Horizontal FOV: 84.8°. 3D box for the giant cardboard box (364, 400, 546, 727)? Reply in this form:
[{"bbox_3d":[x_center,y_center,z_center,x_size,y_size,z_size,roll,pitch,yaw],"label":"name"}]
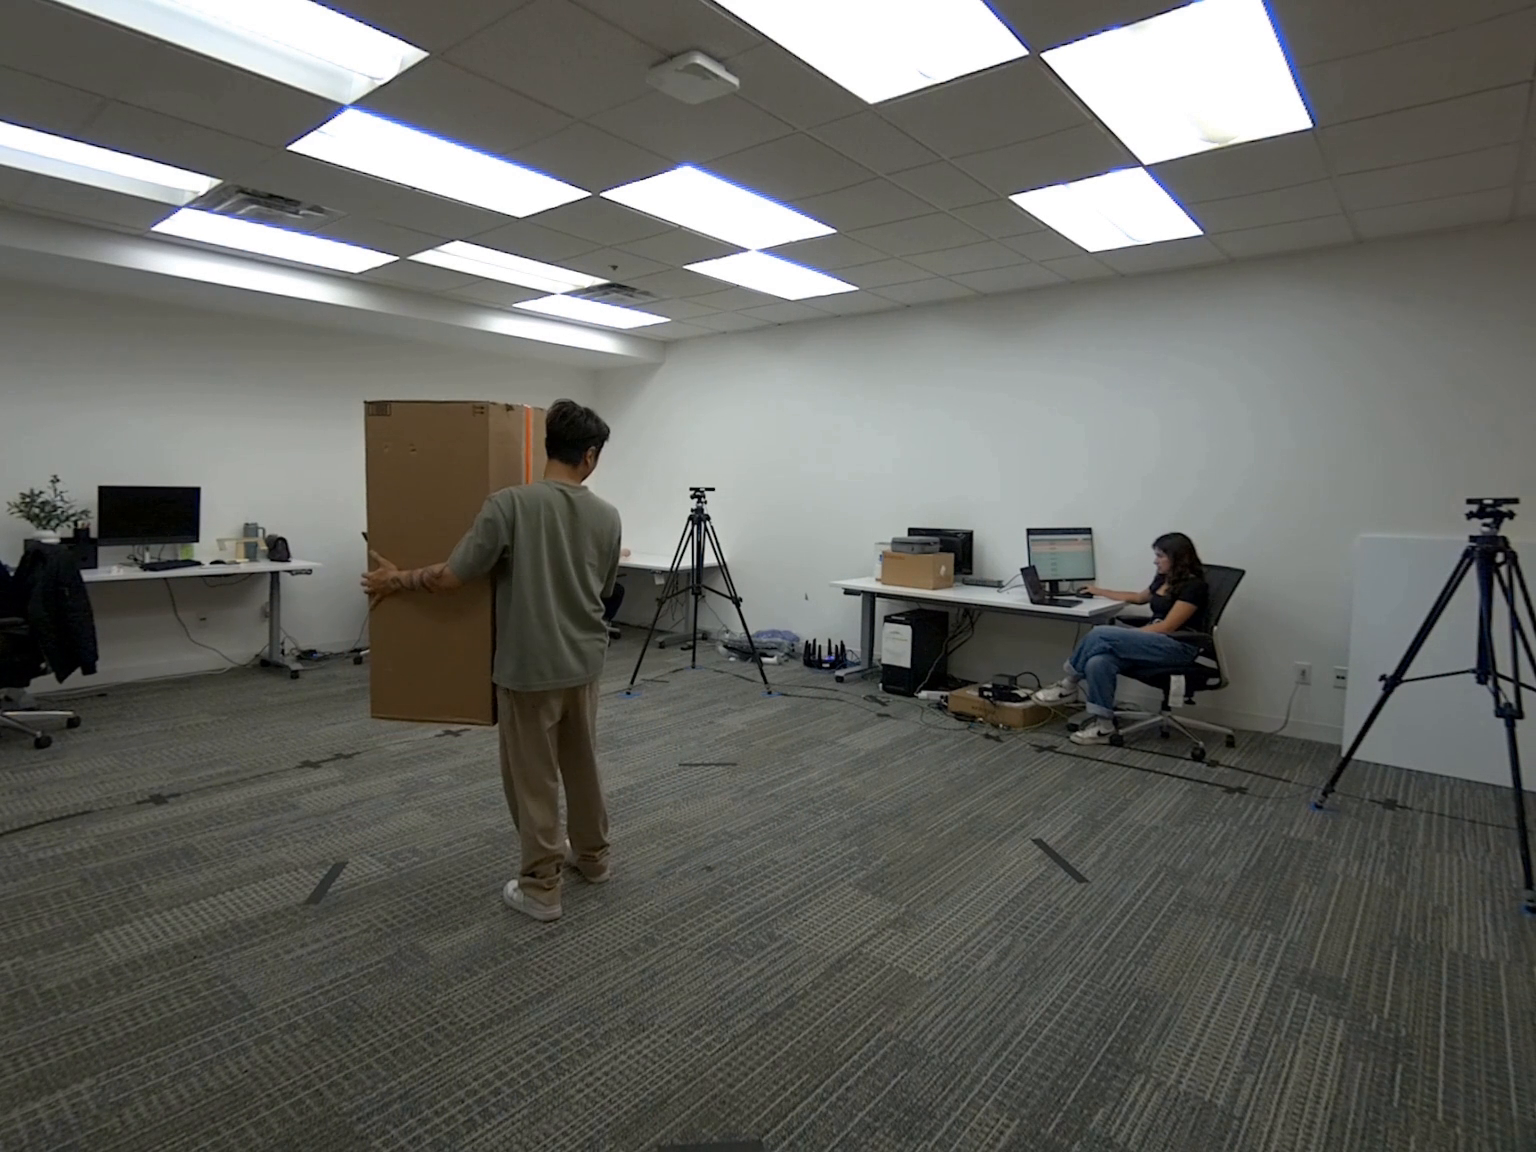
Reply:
[{"bbox_3d":[-1.055,-0.081,2.946,0.430,1.020,0.575,2,6,7],"label":"giant cardboard box"}]
